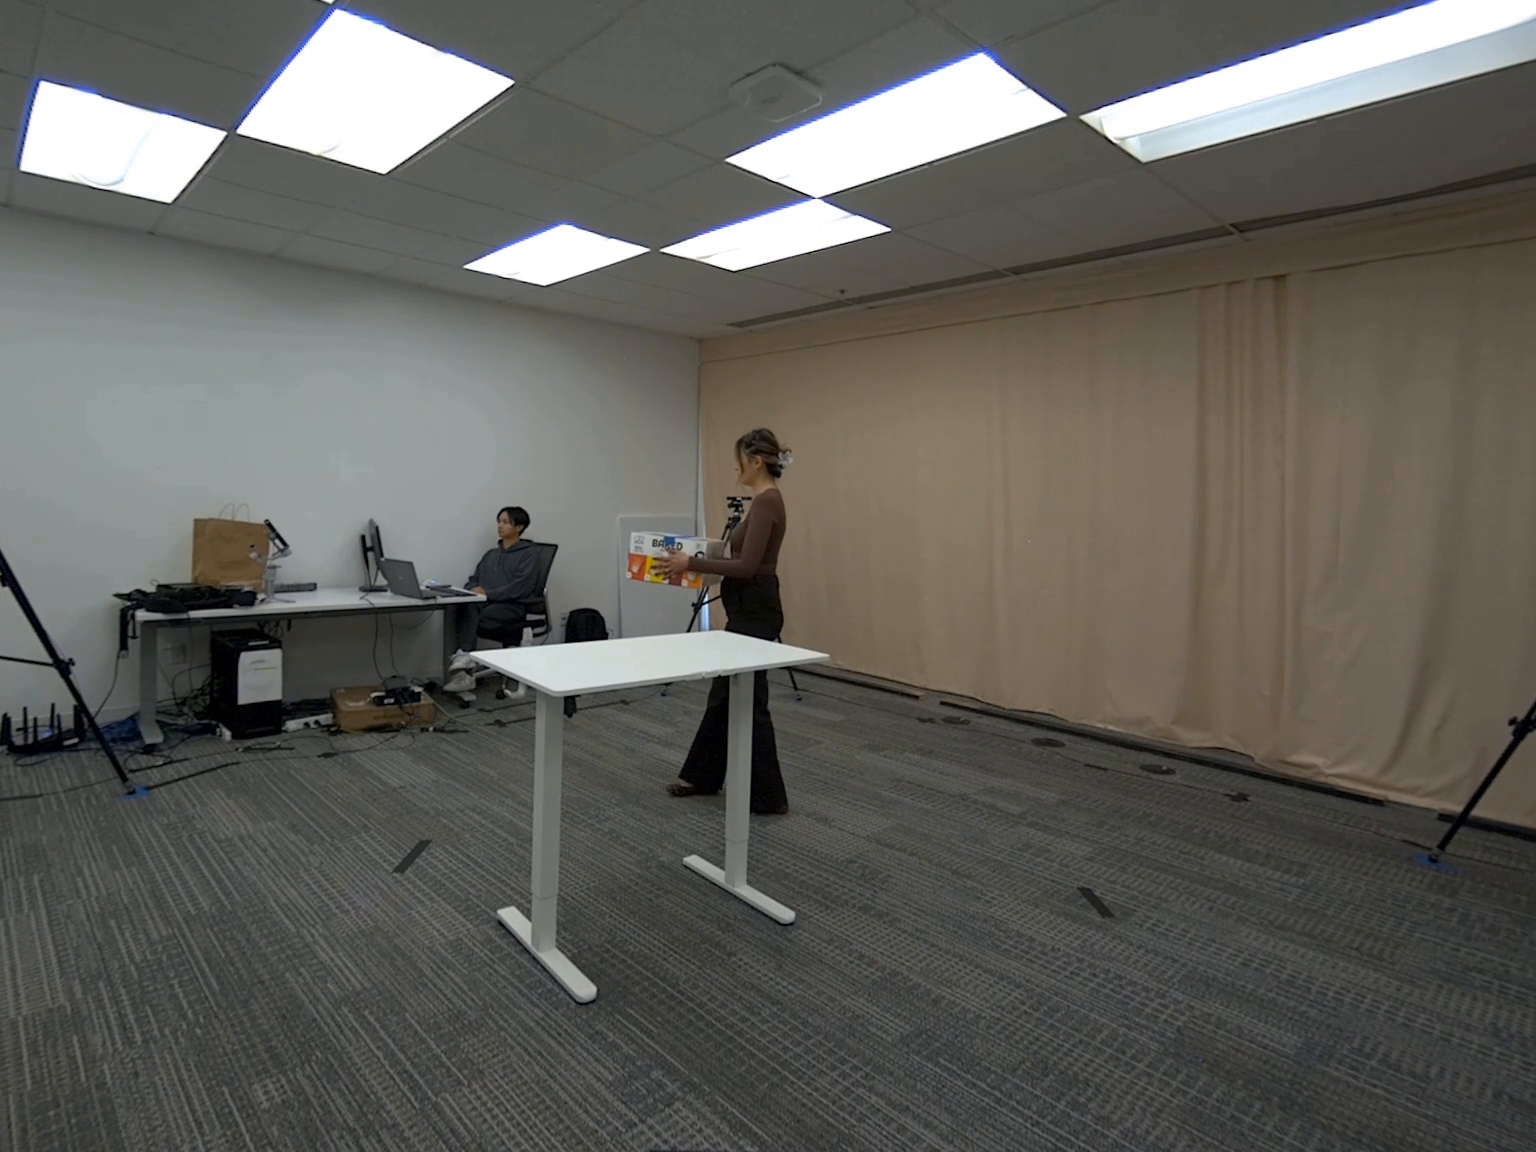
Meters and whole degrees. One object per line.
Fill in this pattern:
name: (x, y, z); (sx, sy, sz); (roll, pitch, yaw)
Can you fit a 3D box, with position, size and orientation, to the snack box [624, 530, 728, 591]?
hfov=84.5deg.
snack box: (-0.405, -0.077, 3.792); (0.344, 0.205, 0.402); (9, 3, 10)
